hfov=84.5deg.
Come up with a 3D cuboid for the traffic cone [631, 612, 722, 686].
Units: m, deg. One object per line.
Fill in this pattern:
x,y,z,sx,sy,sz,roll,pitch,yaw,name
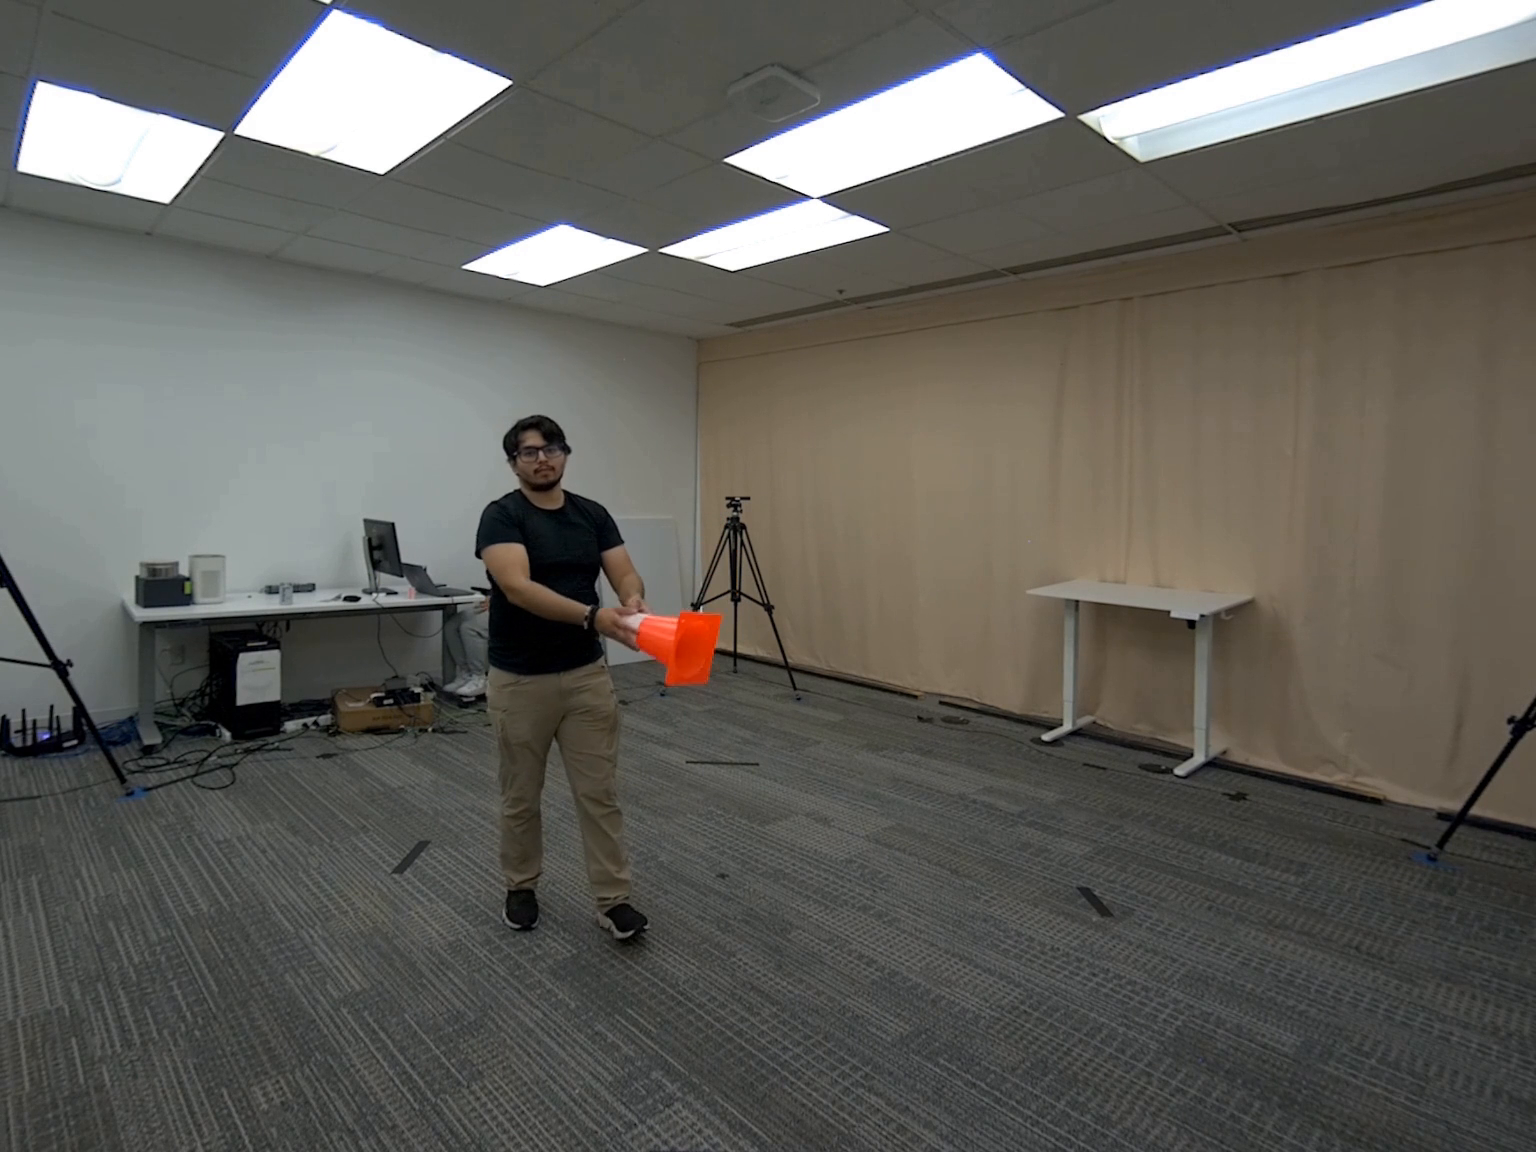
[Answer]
-0.369,0.157,2.363,0.393,0.205,0.198,12,1,33,traffic cone
